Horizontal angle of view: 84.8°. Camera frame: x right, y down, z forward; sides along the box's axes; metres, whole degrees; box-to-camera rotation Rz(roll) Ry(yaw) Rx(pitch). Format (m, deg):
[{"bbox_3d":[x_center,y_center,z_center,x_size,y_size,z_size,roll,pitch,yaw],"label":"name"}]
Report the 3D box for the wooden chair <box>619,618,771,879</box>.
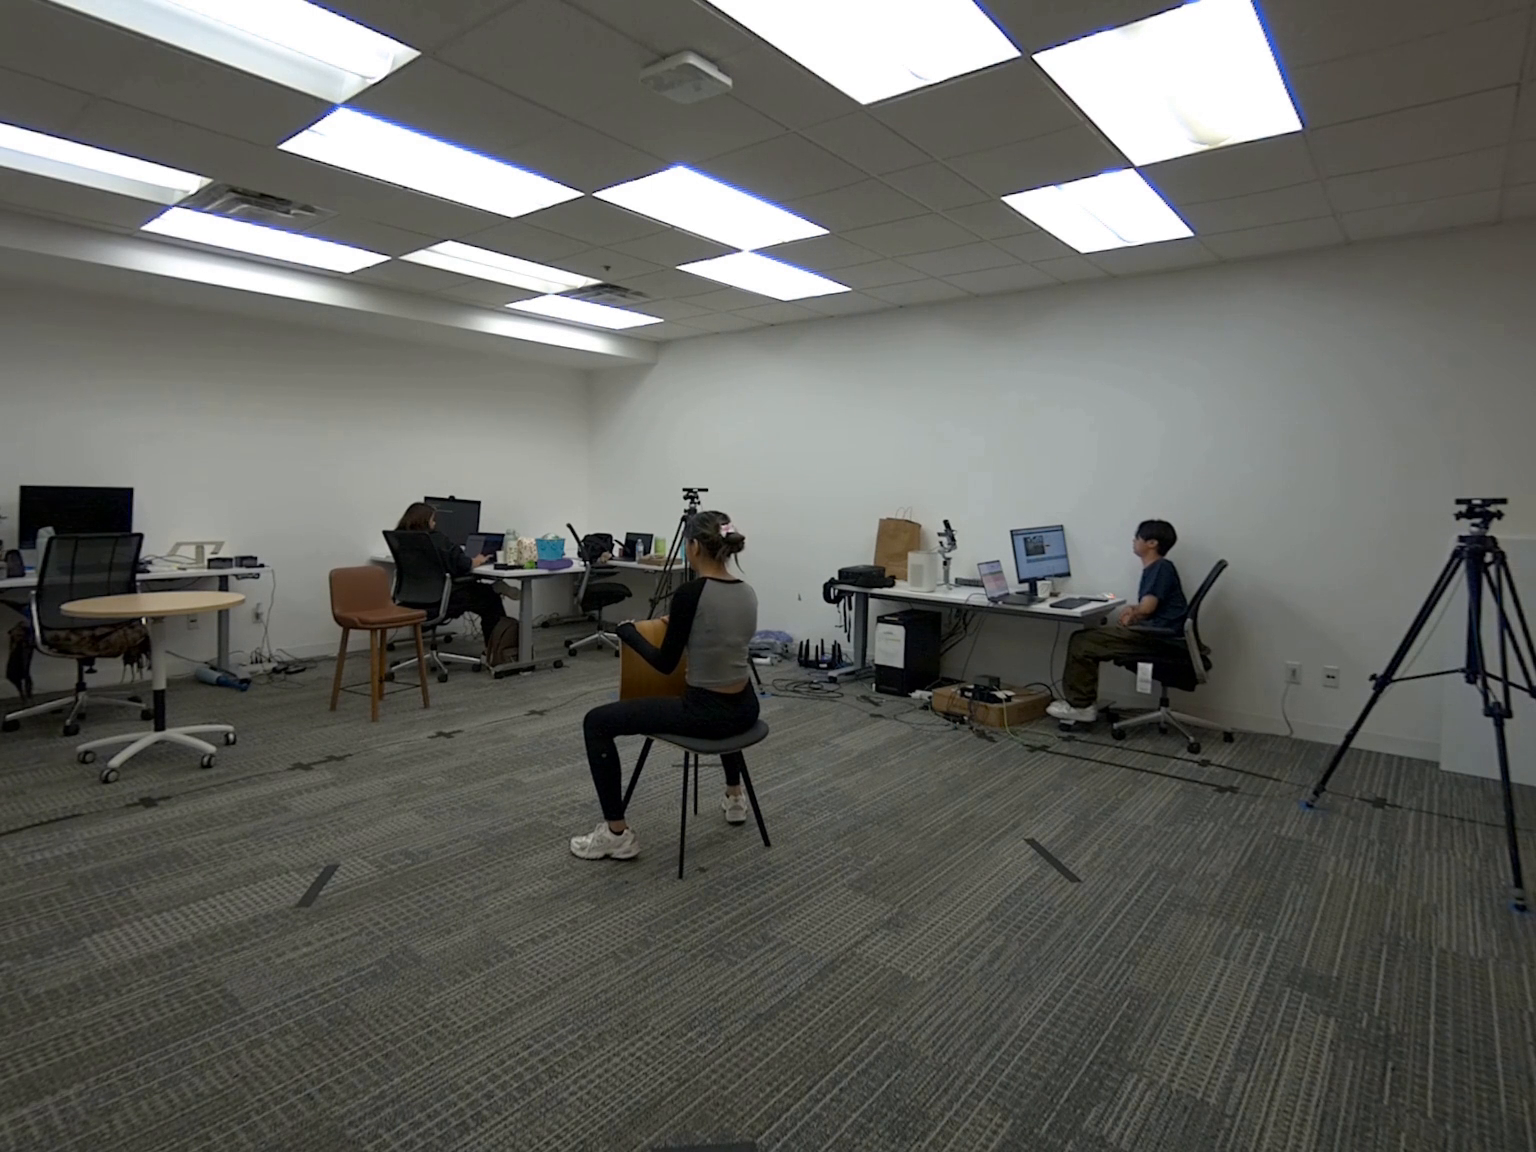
[{"bbox_3d":[-0.302,0.623,3.306,0.463,0.878,0.539,-2,-1,-43],"label":"wooden chair"}]
